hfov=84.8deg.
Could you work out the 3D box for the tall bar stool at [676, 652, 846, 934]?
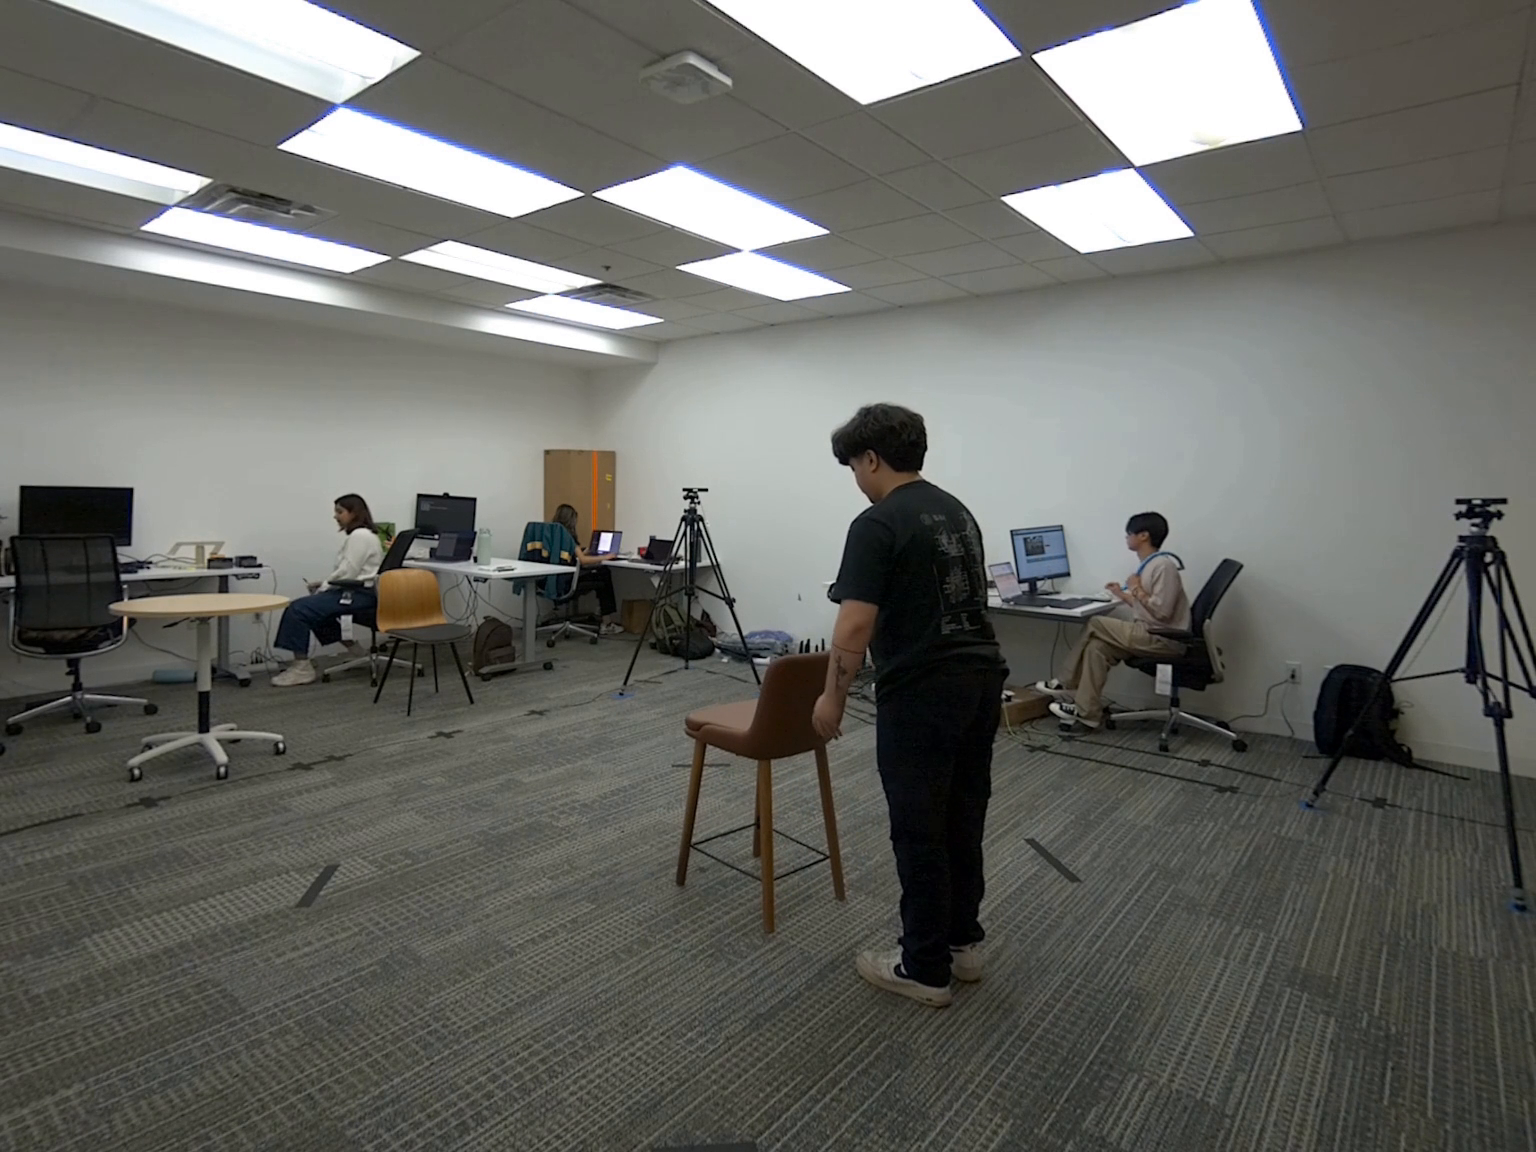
[{"bbox_3d":[-0.015,0.656,2.922,0.442,0.886,0.484,-2,6,-44],"label":"tall bar stool"}]
